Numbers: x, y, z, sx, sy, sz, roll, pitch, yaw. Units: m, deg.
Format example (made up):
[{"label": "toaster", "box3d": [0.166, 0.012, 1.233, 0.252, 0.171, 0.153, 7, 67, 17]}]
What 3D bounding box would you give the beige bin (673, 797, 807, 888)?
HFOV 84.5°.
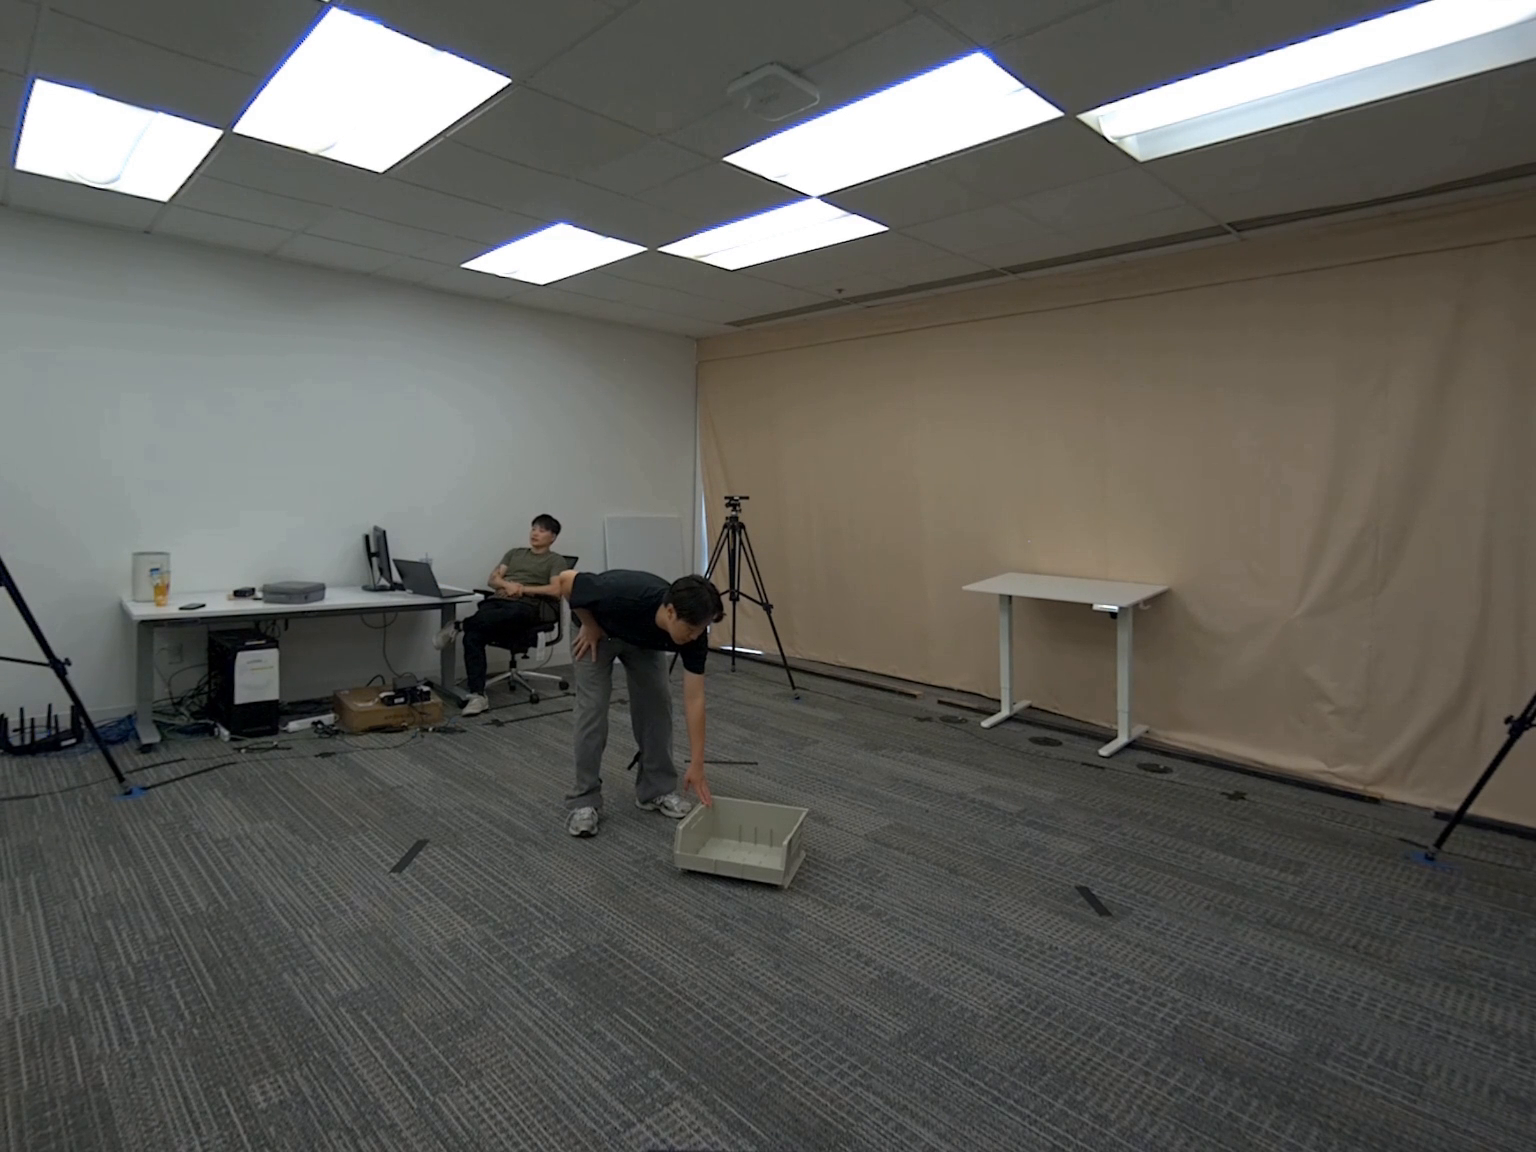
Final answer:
[{"label": "beige bin", "box3d": [-0.098, 1.010, 3.188, 0.428, 0.188, 0.373, 2, 4, 16]}]
